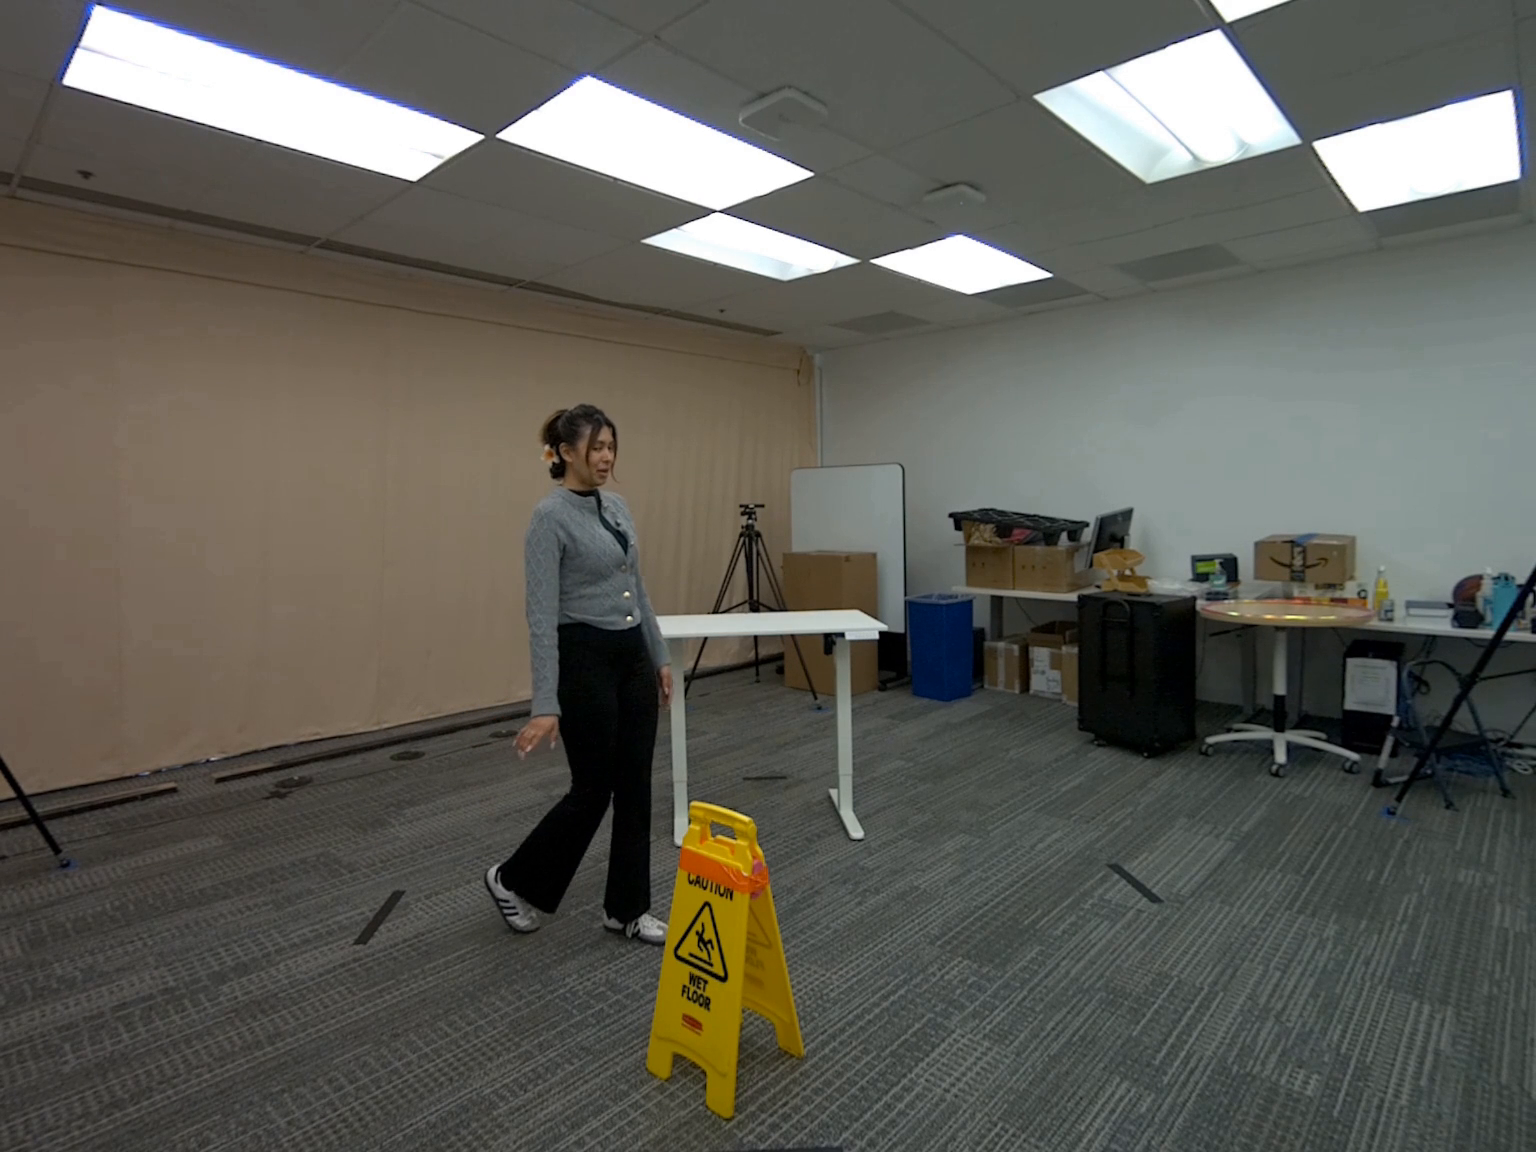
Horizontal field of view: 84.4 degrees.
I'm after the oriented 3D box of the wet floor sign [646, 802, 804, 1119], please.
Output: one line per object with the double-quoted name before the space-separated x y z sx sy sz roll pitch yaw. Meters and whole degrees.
"wet floor sign" -0.107 0.900 2.080 0.291 0.645 0.281 1 4 40
